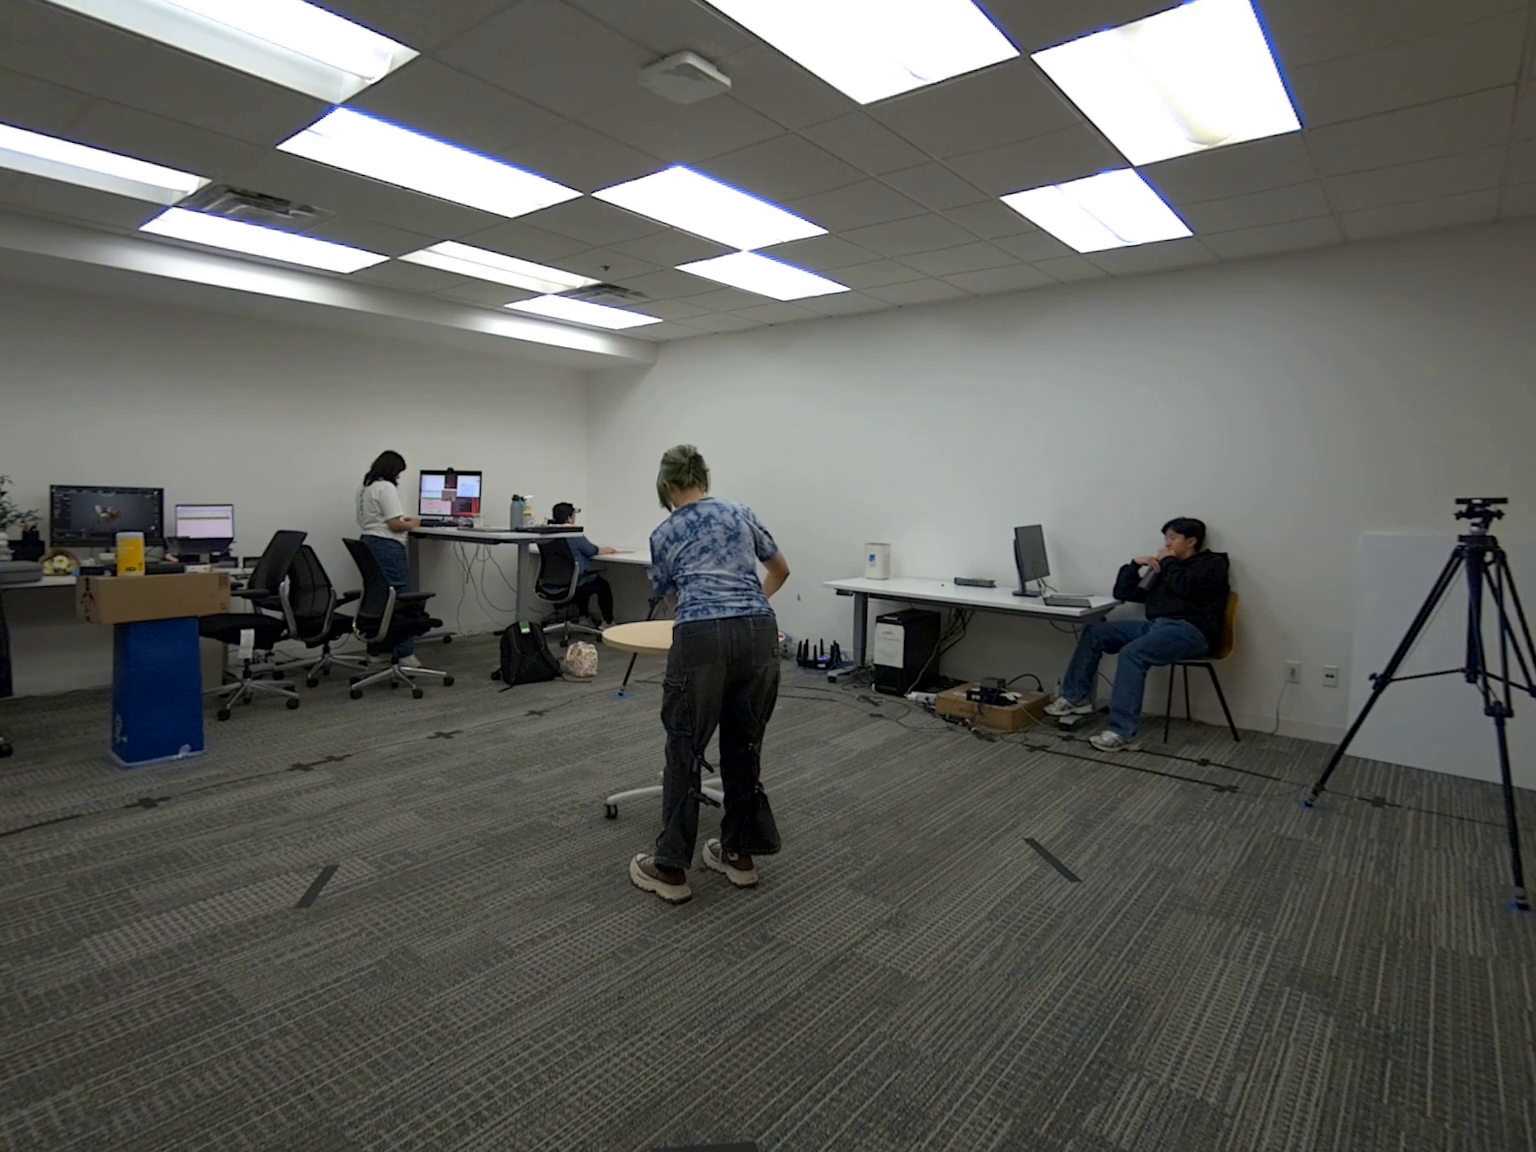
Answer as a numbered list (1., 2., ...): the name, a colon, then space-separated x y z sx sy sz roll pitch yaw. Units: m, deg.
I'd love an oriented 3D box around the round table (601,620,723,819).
1. round table: -0.335 0.632 3.597 0.763 0.792 0.767 1 4 -2
